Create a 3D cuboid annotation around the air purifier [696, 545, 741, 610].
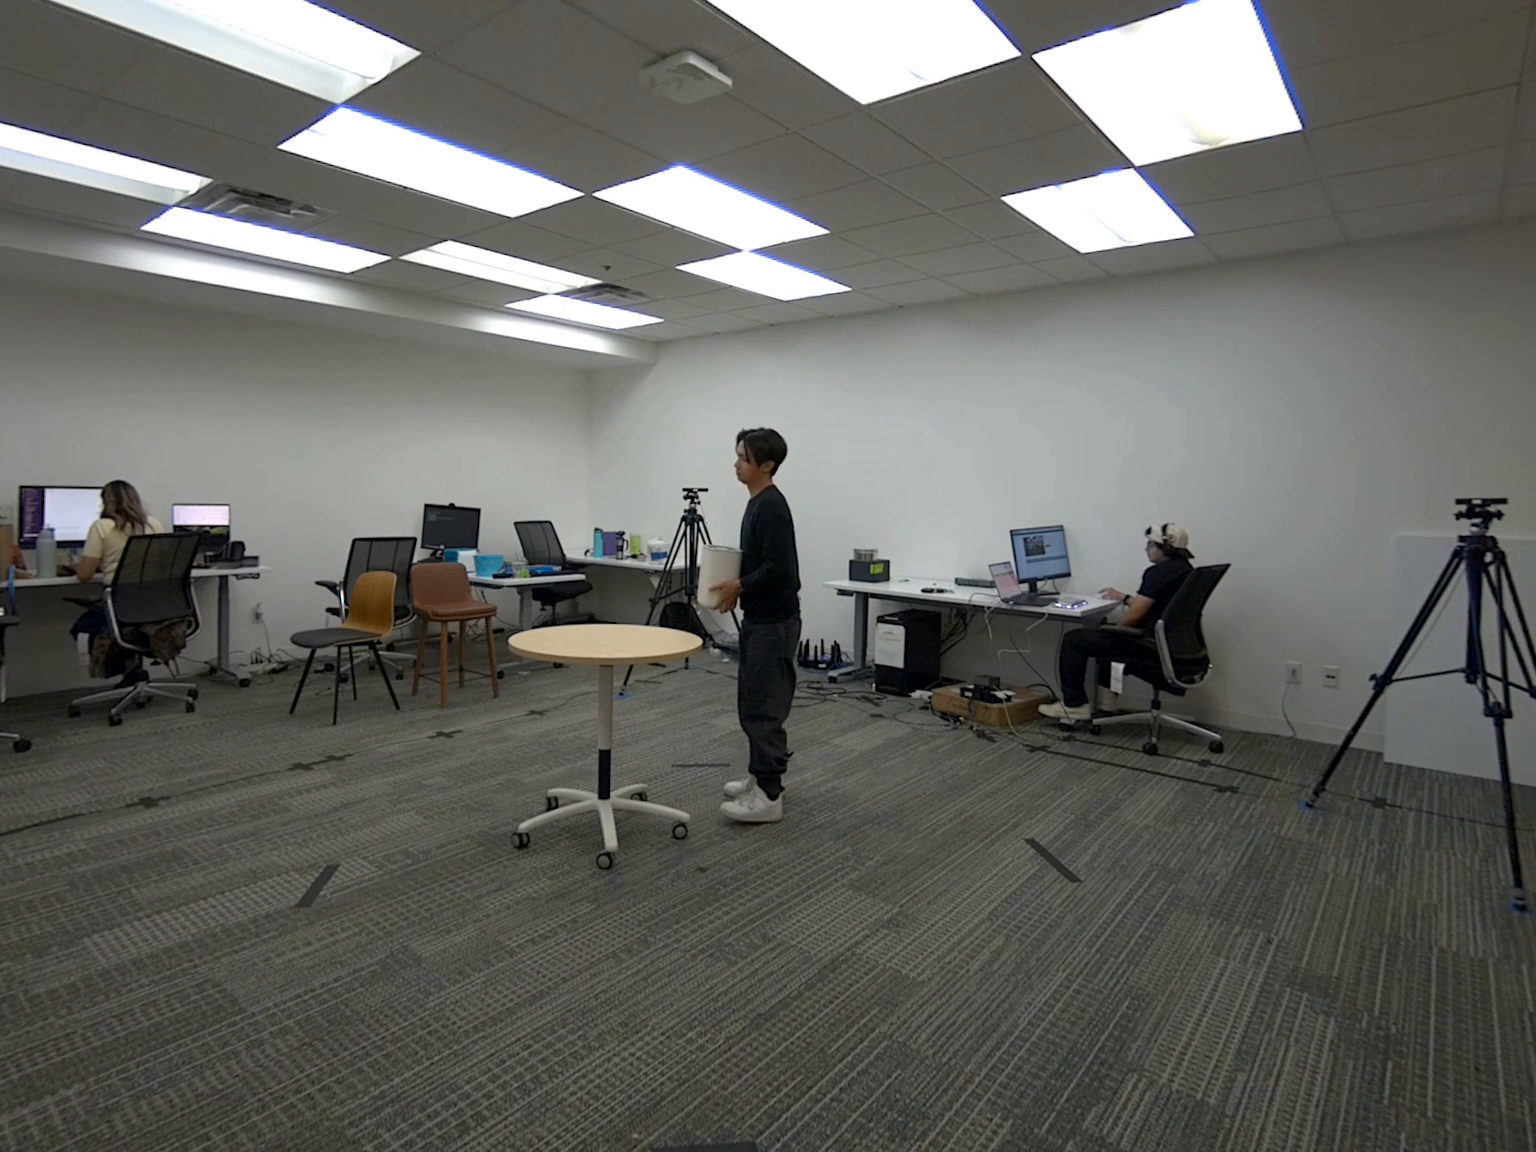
[{"bbox_3d":[-0.223,0.001,3.779,0.168,0.264,0.175,6,6,-14],"label":"air purifier"}]
